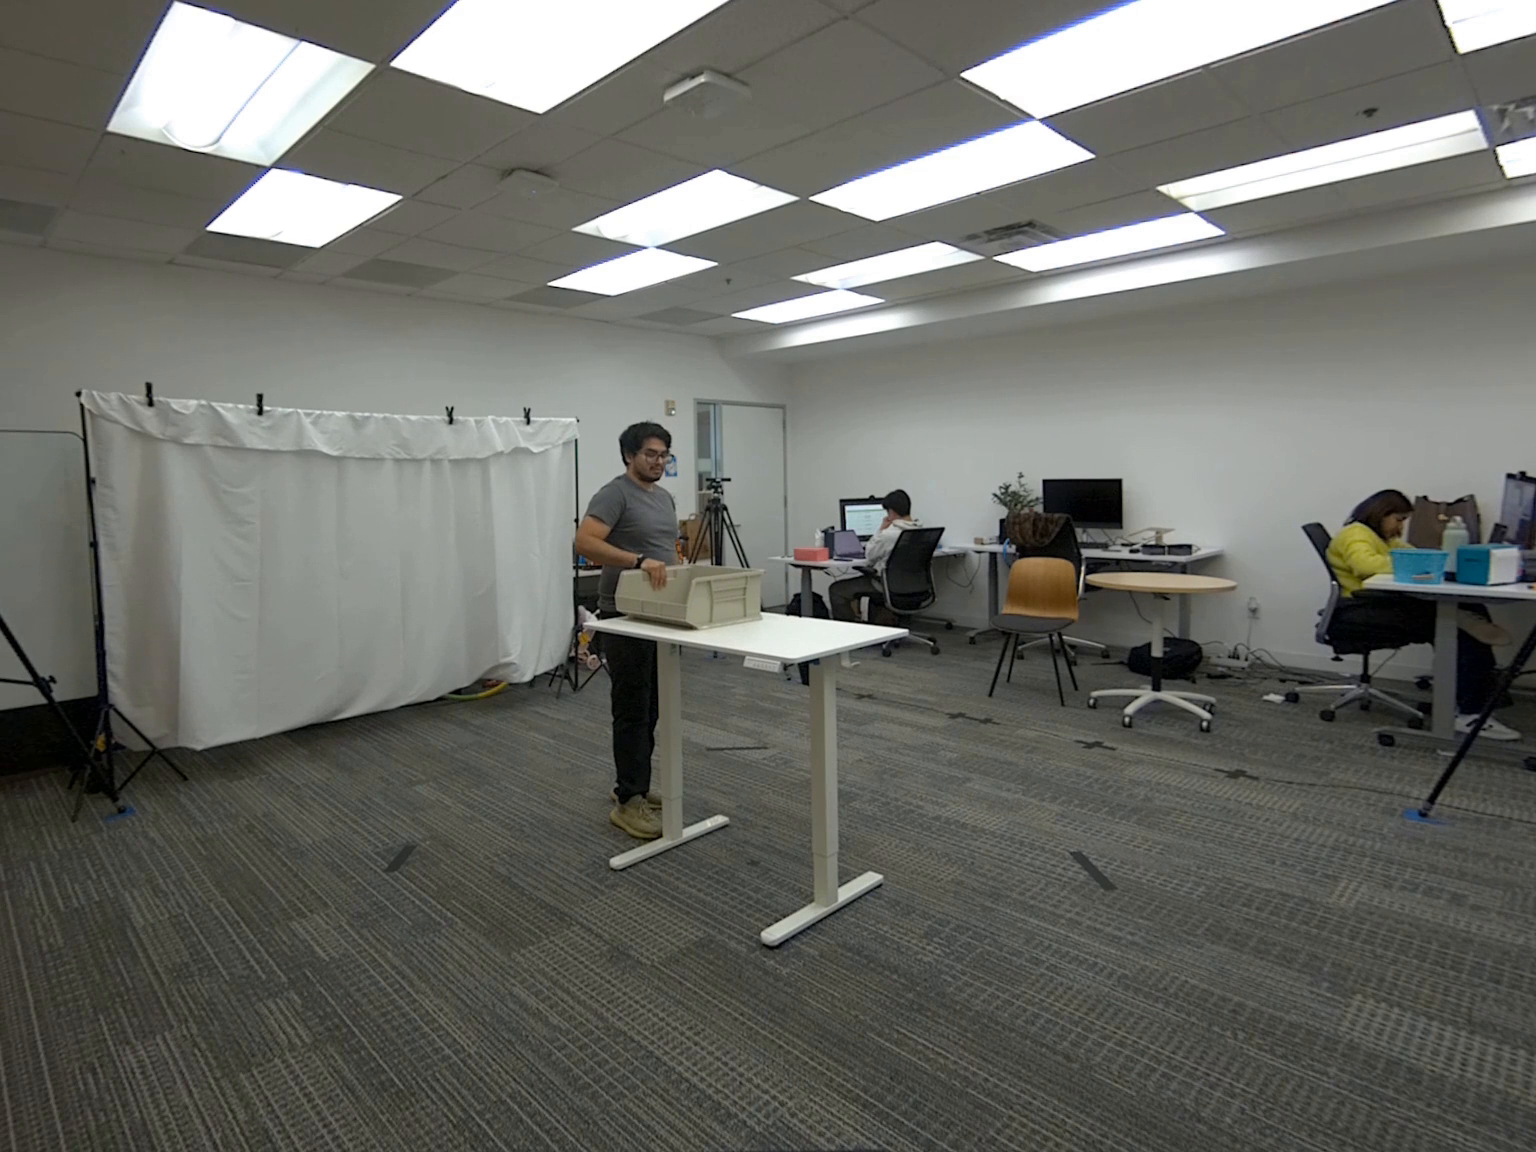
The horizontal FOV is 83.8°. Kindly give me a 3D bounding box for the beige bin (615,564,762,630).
[{"bbox_3d":[-0.290,0.073,3.138,0.367,0.188,0.435,-4,5,-44],"label":"beige bin"}]
